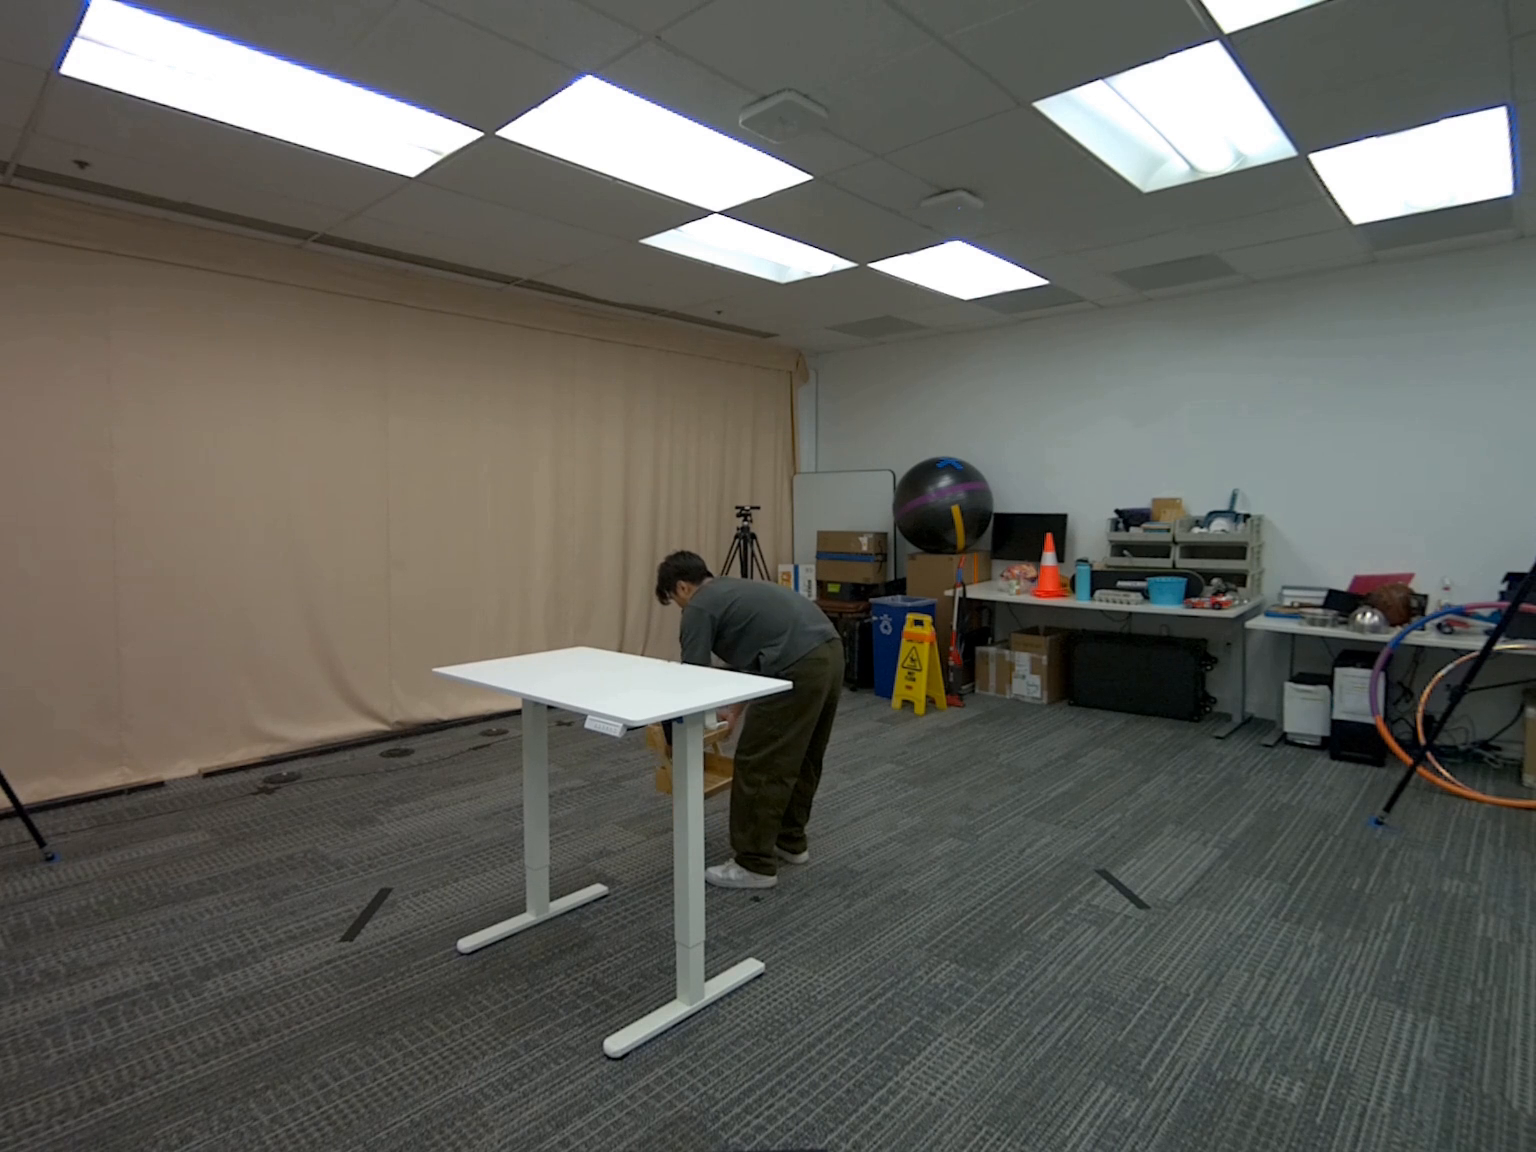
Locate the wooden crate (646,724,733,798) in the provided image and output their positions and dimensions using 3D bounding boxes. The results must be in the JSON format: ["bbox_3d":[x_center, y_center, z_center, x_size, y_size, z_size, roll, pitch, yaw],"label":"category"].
[{"bbox_3d":[-0.295,0.725,3.457,0.311,0.272,0.315,3,6,35],"label":"wooden crate"}]
